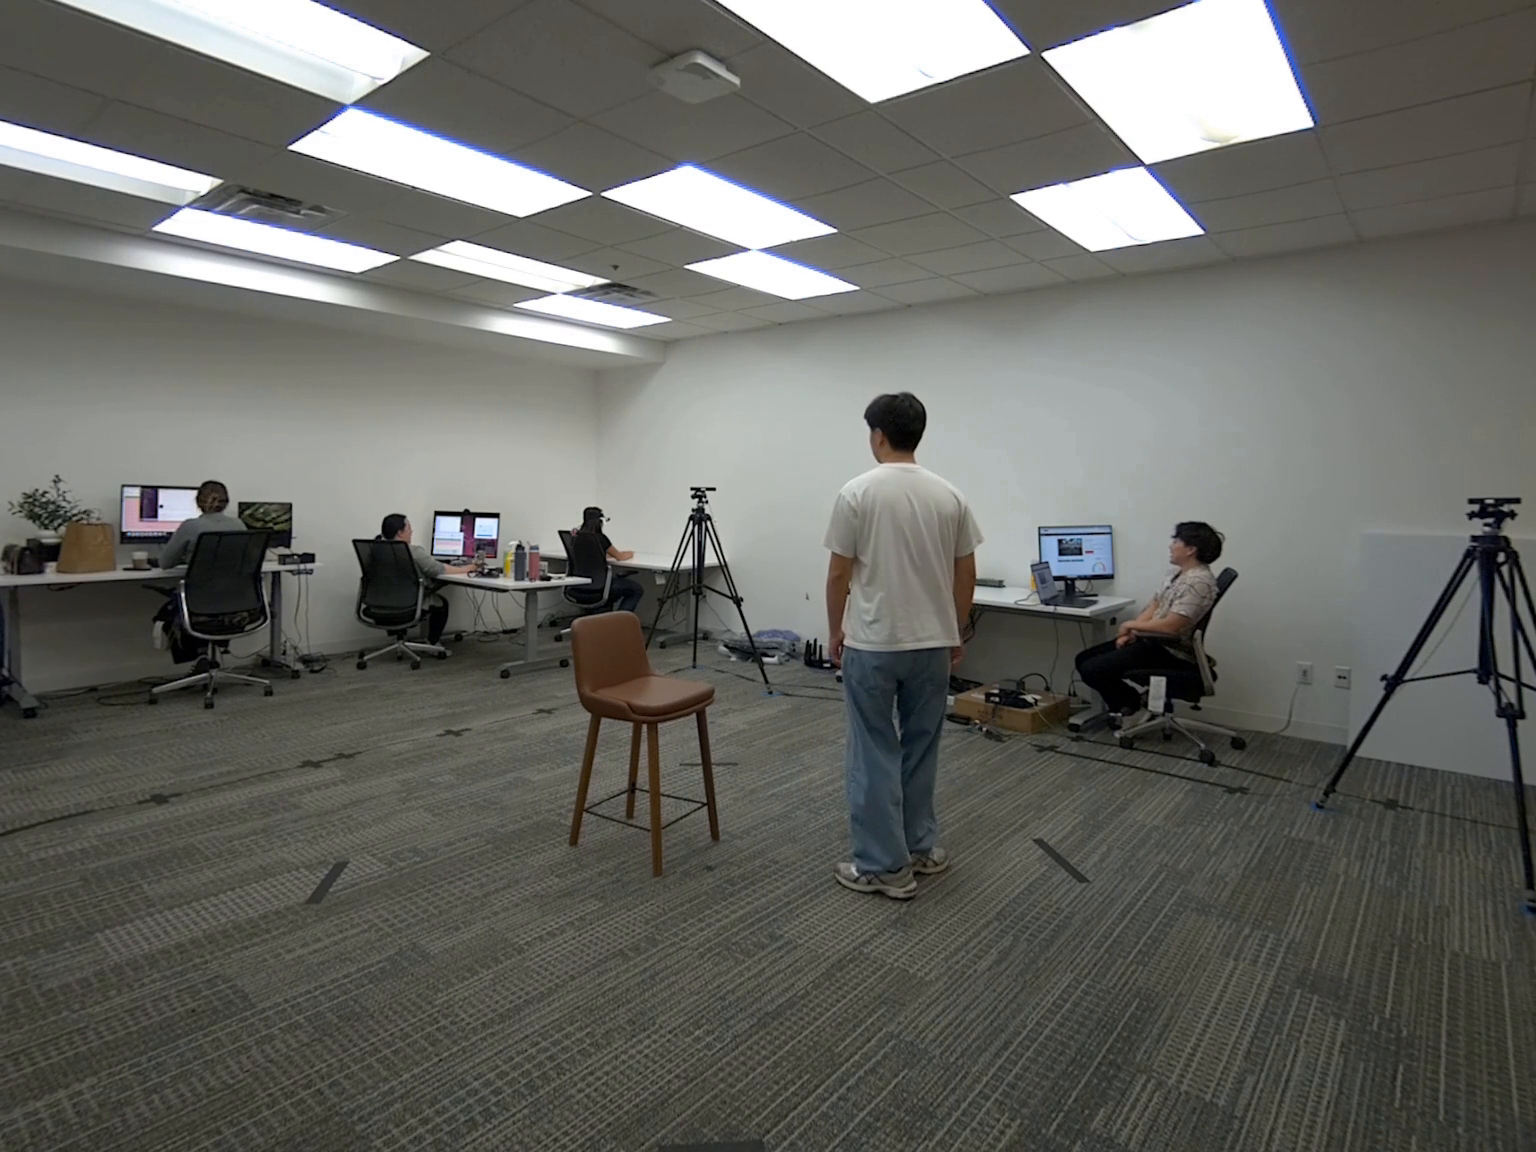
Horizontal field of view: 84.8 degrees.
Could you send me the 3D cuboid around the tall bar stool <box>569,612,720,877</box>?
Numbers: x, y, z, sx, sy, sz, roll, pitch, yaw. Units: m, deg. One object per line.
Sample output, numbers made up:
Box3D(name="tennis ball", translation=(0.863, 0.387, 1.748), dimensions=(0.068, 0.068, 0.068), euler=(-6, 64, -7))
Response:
Box3D(name="tall bar stool", translation=(-0.489, 0.604, 3.309), dimensions=(0.481, 0.888, 0.444), euler=(0, 2, 32))
